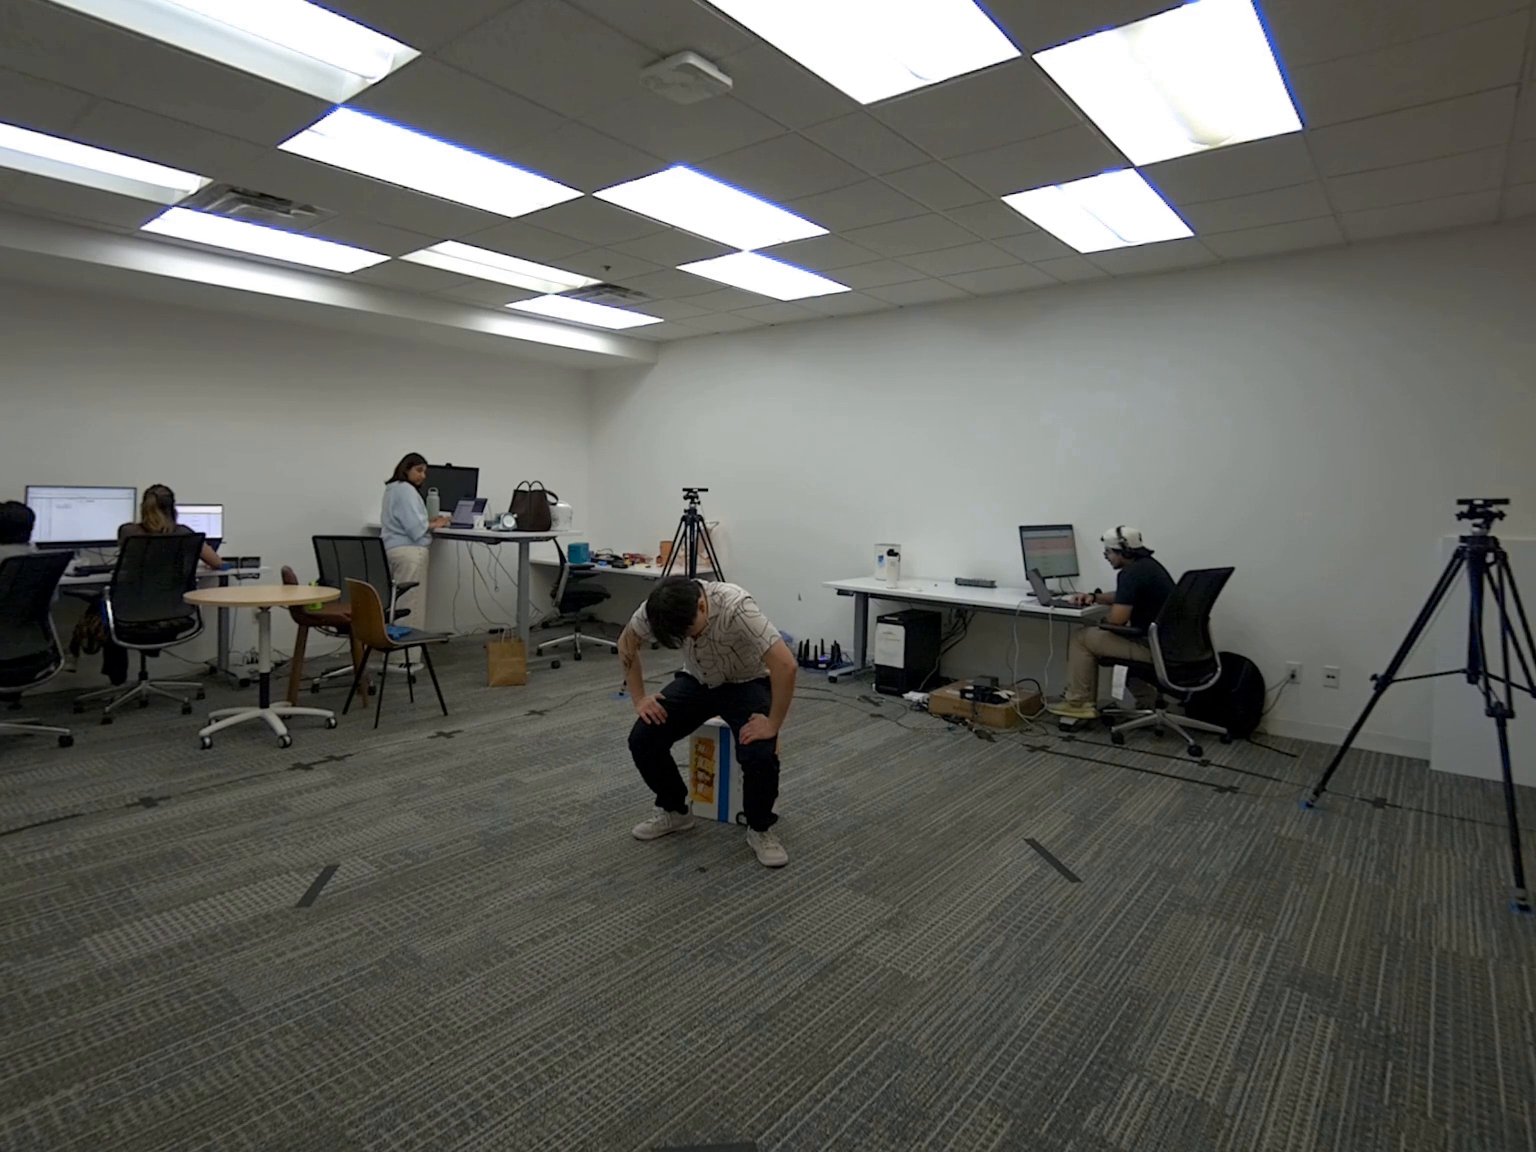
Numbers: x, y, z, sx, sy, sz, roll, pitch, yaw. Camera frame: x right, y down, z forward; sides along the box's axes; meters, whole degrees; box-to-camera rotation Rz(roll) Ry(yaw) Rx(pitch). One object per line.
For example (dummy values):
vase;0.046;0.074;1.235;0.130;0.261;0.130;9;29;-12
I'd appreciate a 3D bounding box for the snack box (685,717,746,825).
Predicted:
snack box;-0.153;0.817;3.636;0.349;0.404;0.201;3;3;23
